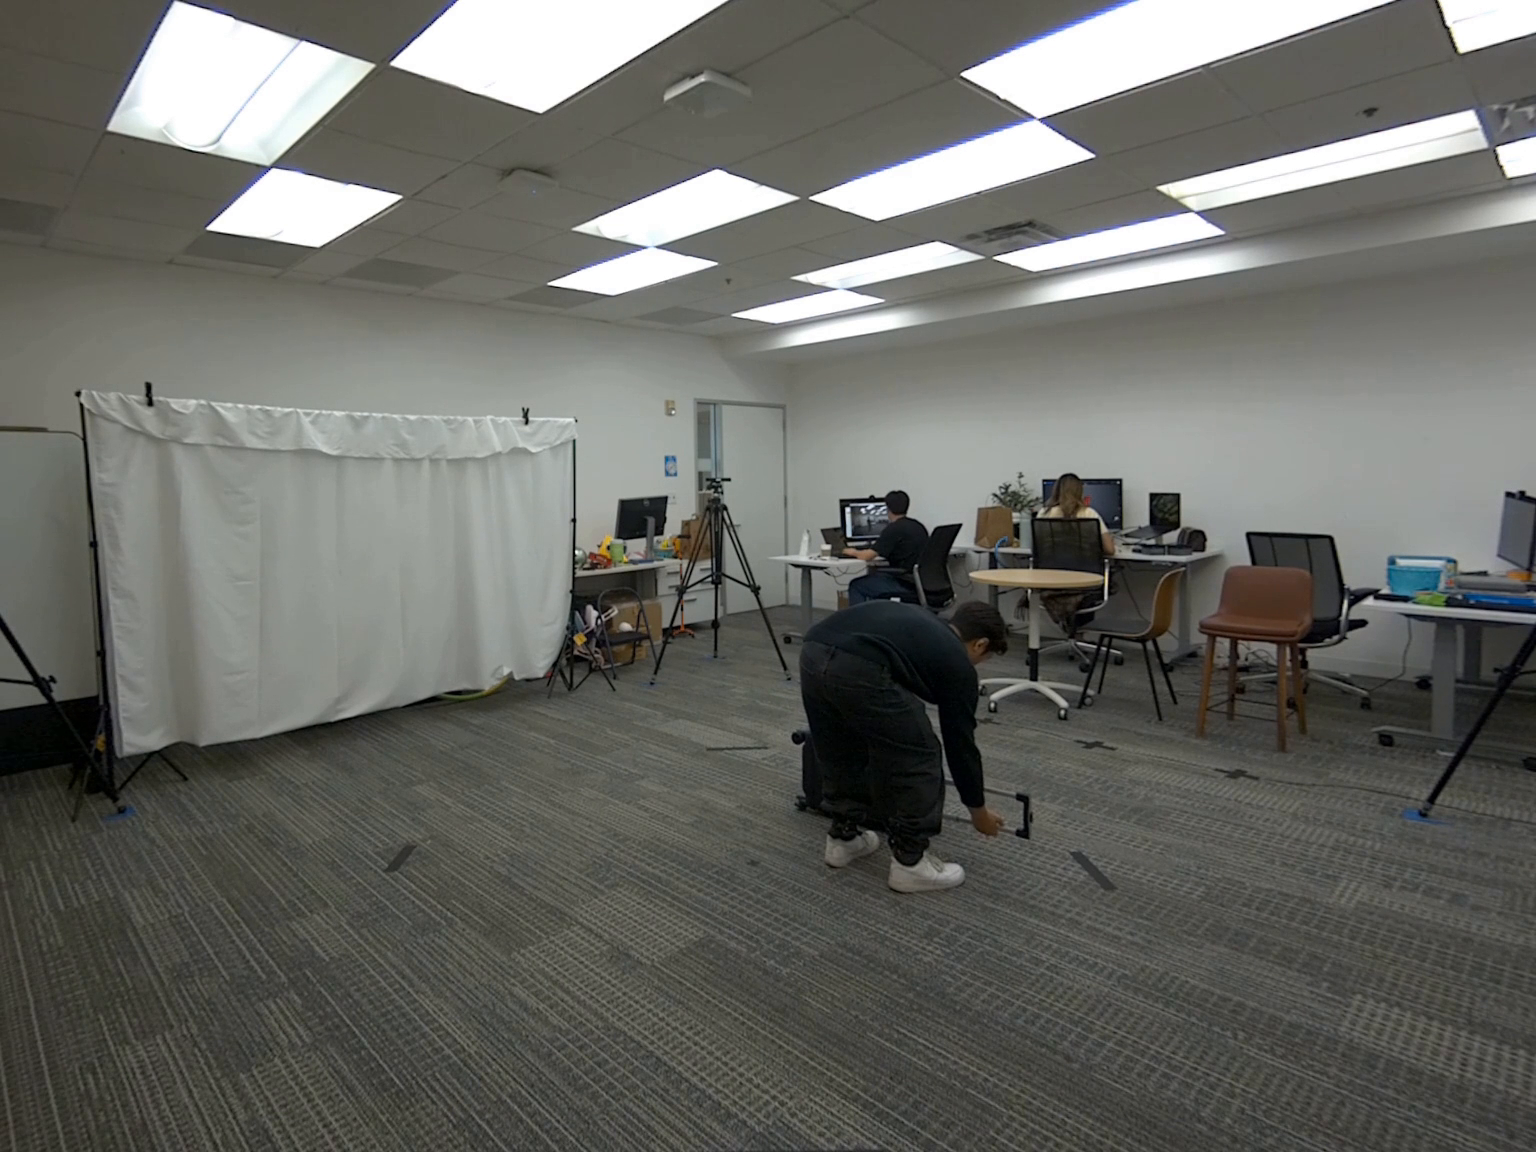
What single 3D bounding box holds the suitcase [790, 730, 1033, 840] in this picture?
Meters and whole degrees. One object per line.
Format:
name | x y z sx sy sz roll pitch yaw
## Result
suitcase | 0.568 0.814 3.386 1.007 0.383 0.250 3 5 37
